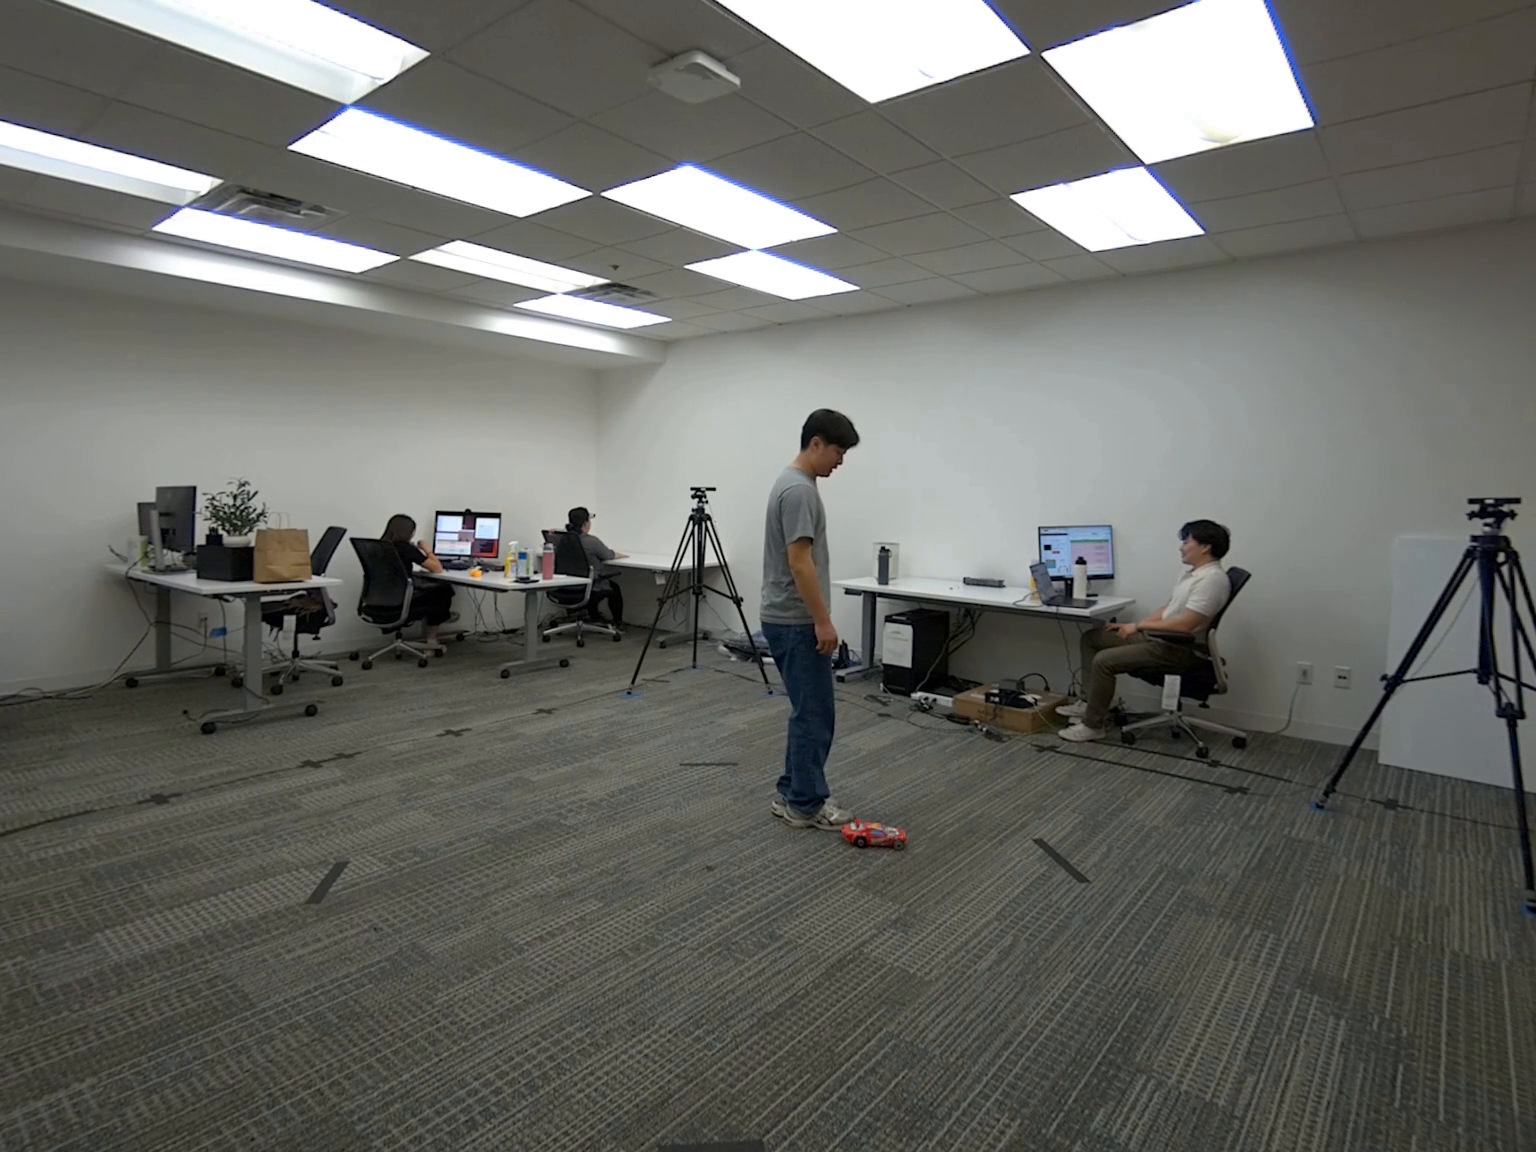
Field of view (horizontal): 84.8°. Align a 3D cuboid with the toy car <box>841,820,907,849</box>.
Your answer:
[{"bbox_3d":[0.407,1.023,3.368,0.255,0.083,0.130,12,5,3],"label":"toy car"}]
